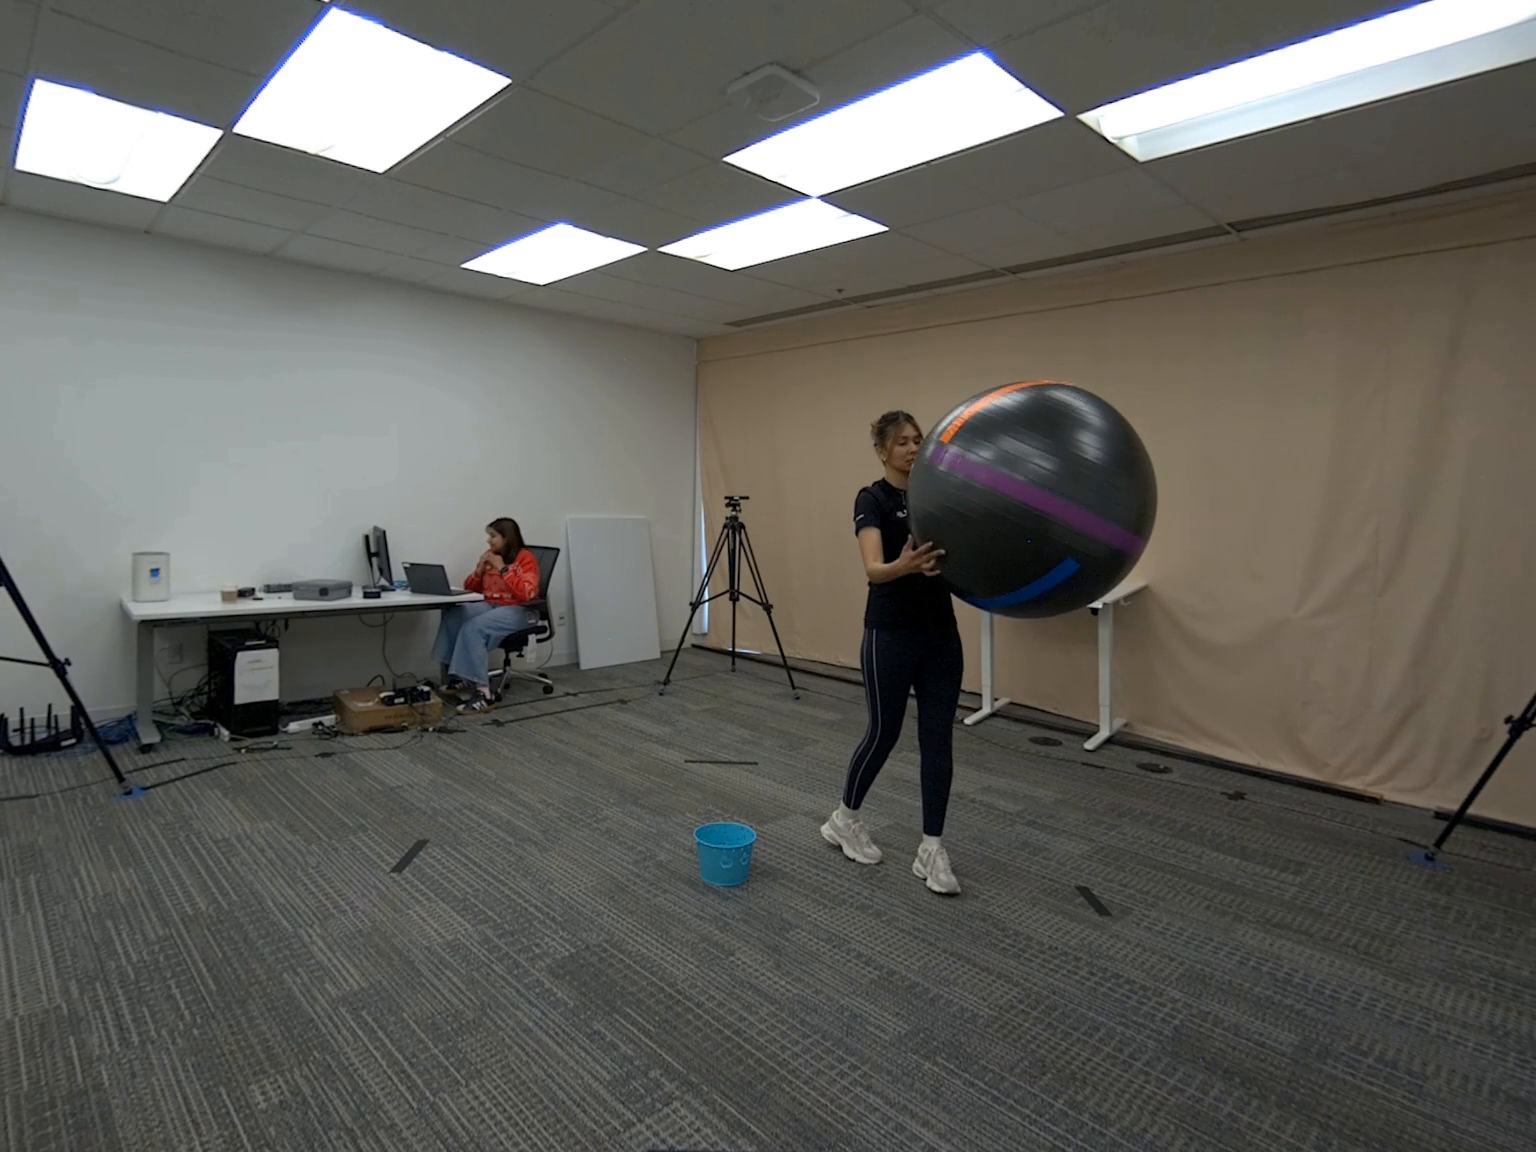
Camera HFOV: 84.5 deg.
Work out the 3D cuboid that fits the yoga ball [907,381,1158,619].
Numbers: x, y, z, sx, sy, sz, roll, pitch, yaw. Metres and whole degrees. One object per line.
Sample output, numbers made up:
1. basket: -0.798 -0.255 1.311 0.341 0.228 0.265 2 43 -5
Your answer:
1. yoga ball: 0.837 -0.239 2.708 0.757 0.756 0.761 1 4 -1
